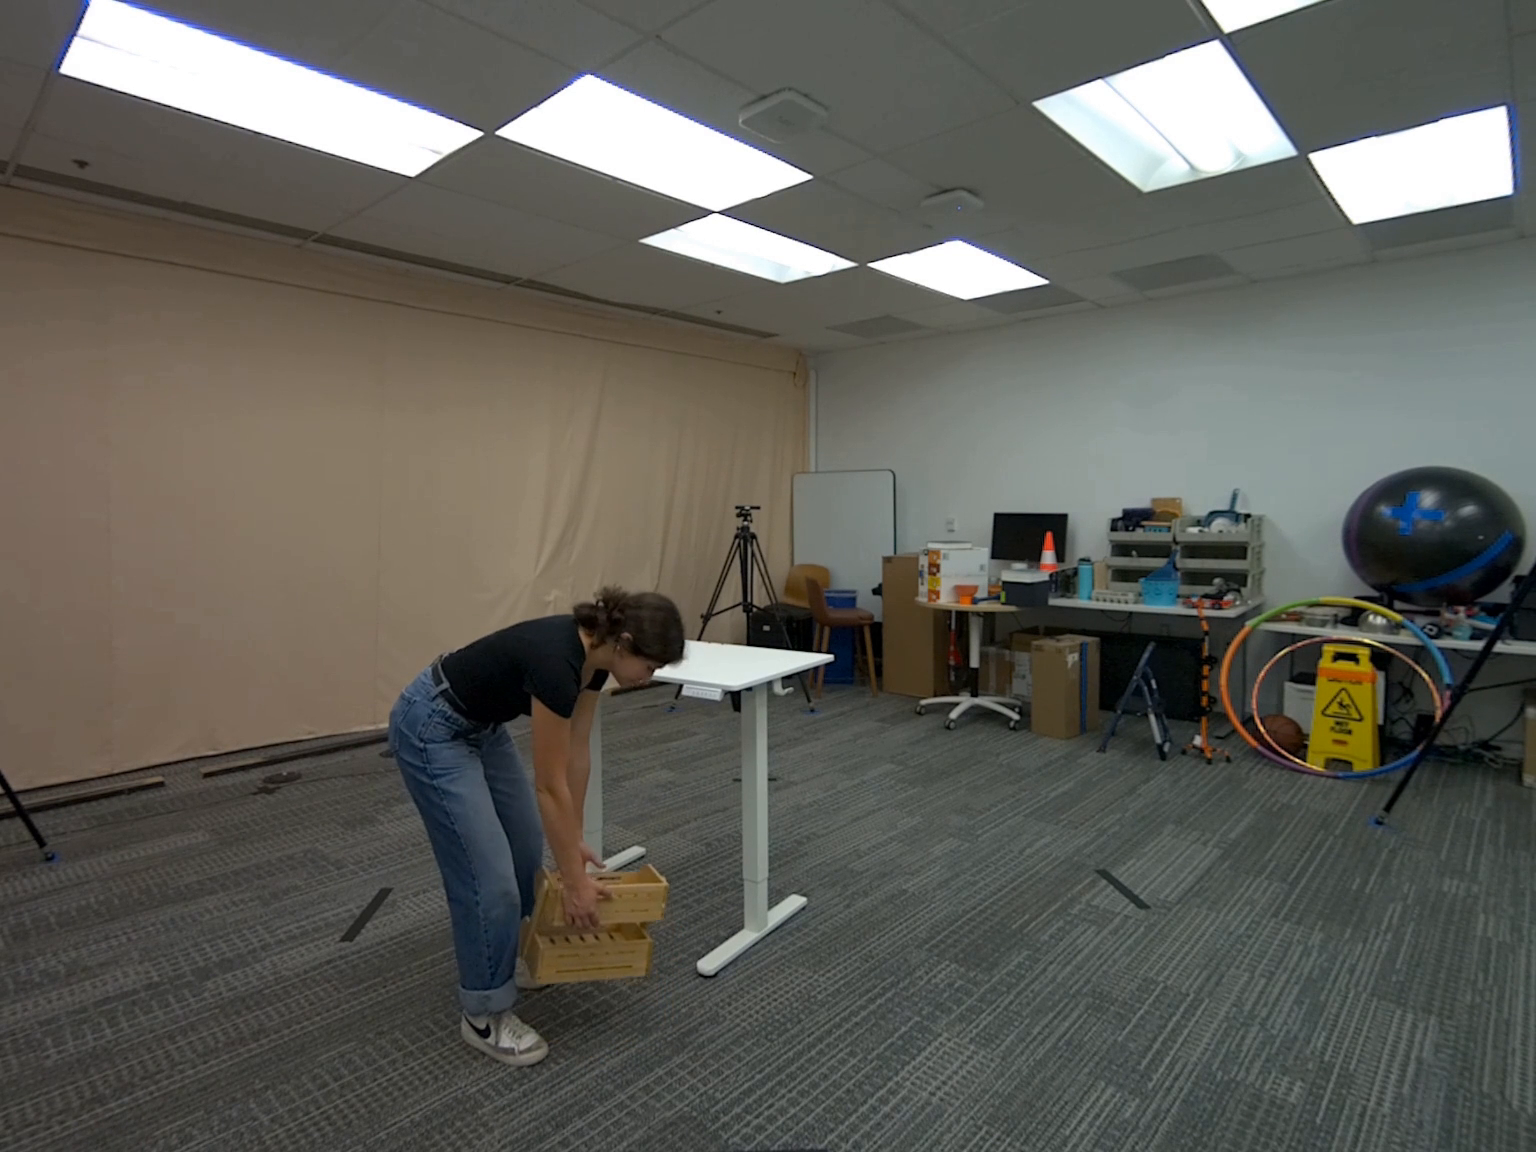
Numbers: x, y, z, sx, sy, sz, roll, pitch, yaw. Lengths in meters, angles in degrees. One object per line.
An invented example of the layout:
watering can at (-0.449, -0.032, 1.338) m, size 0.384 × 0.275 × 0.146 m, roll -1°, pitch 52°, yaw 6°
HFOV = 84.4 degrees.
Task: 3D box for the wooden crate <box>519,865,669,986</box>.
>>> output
wooden crate at (-0.476, 0.897, 2.238) m, size 0.316 × 0.273 × 0.310 m, roll 8°, pitch -1°, yaw -26°
